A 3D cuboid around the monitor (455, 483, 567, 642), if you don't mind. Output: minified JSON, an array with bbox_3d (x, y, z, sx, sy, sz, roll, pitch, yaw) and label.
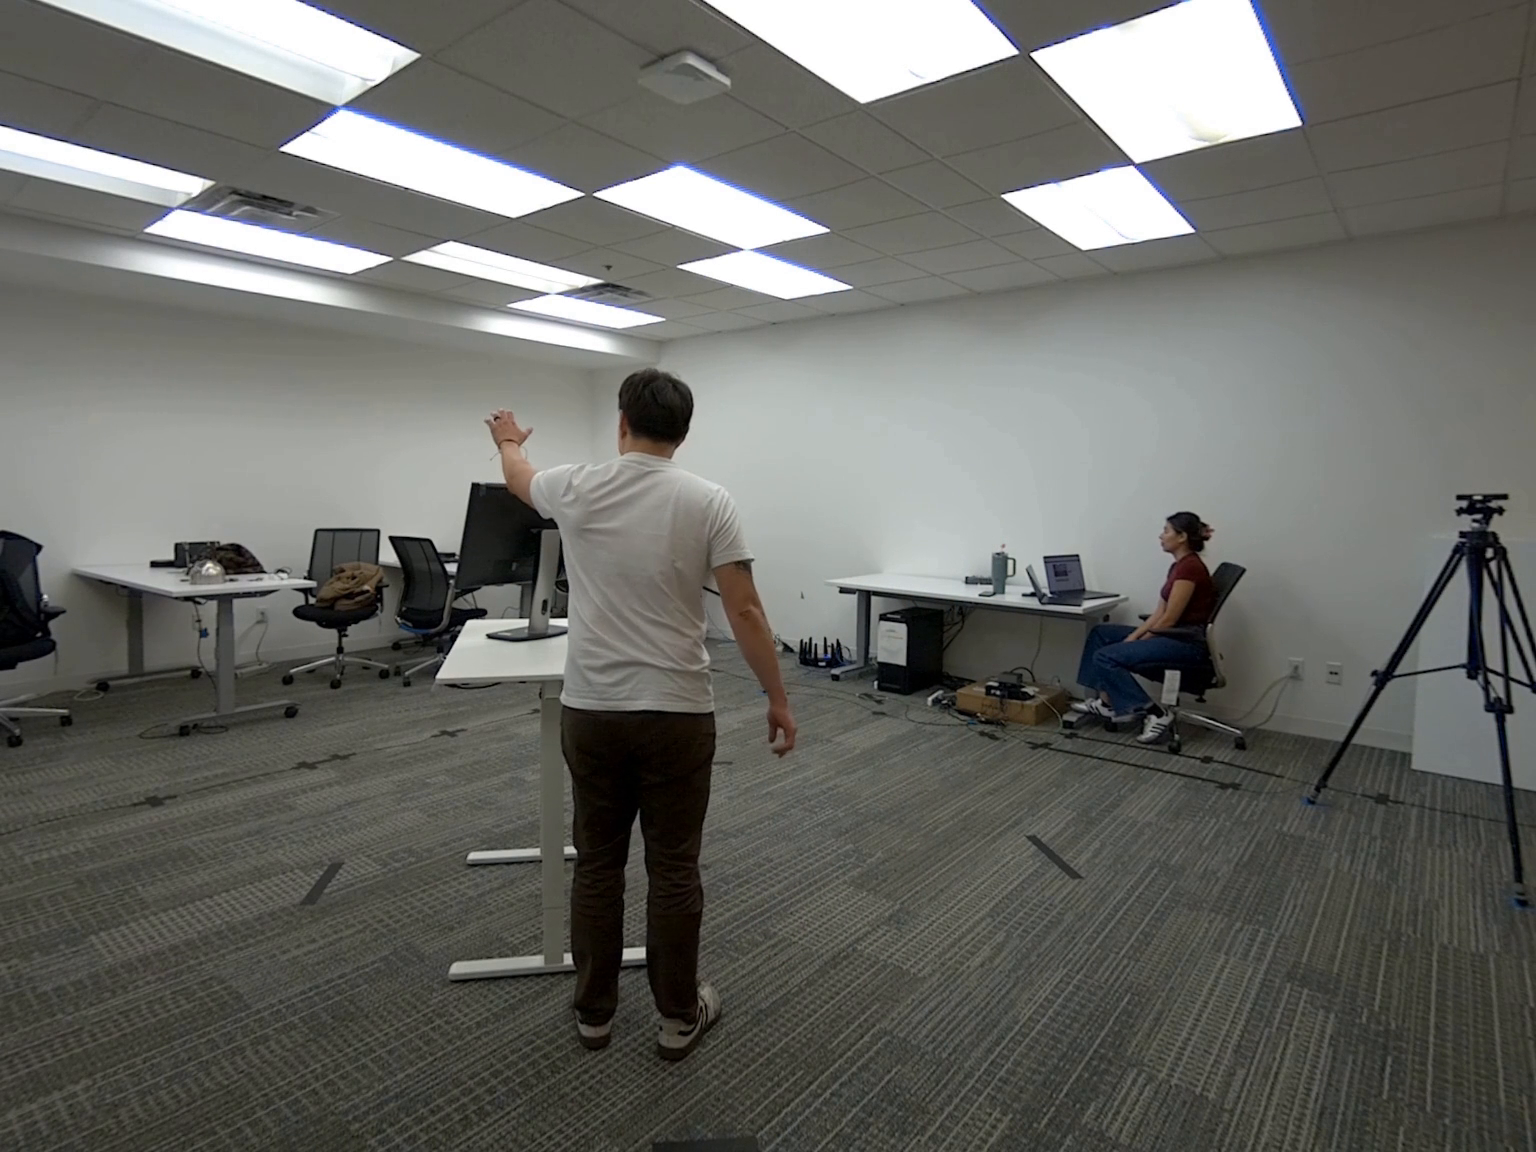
[{"bbox_3d":[-0.805,-0.051,2.877,0.193,0.521,0.524,5,6,34],"label":"monitor"}]
